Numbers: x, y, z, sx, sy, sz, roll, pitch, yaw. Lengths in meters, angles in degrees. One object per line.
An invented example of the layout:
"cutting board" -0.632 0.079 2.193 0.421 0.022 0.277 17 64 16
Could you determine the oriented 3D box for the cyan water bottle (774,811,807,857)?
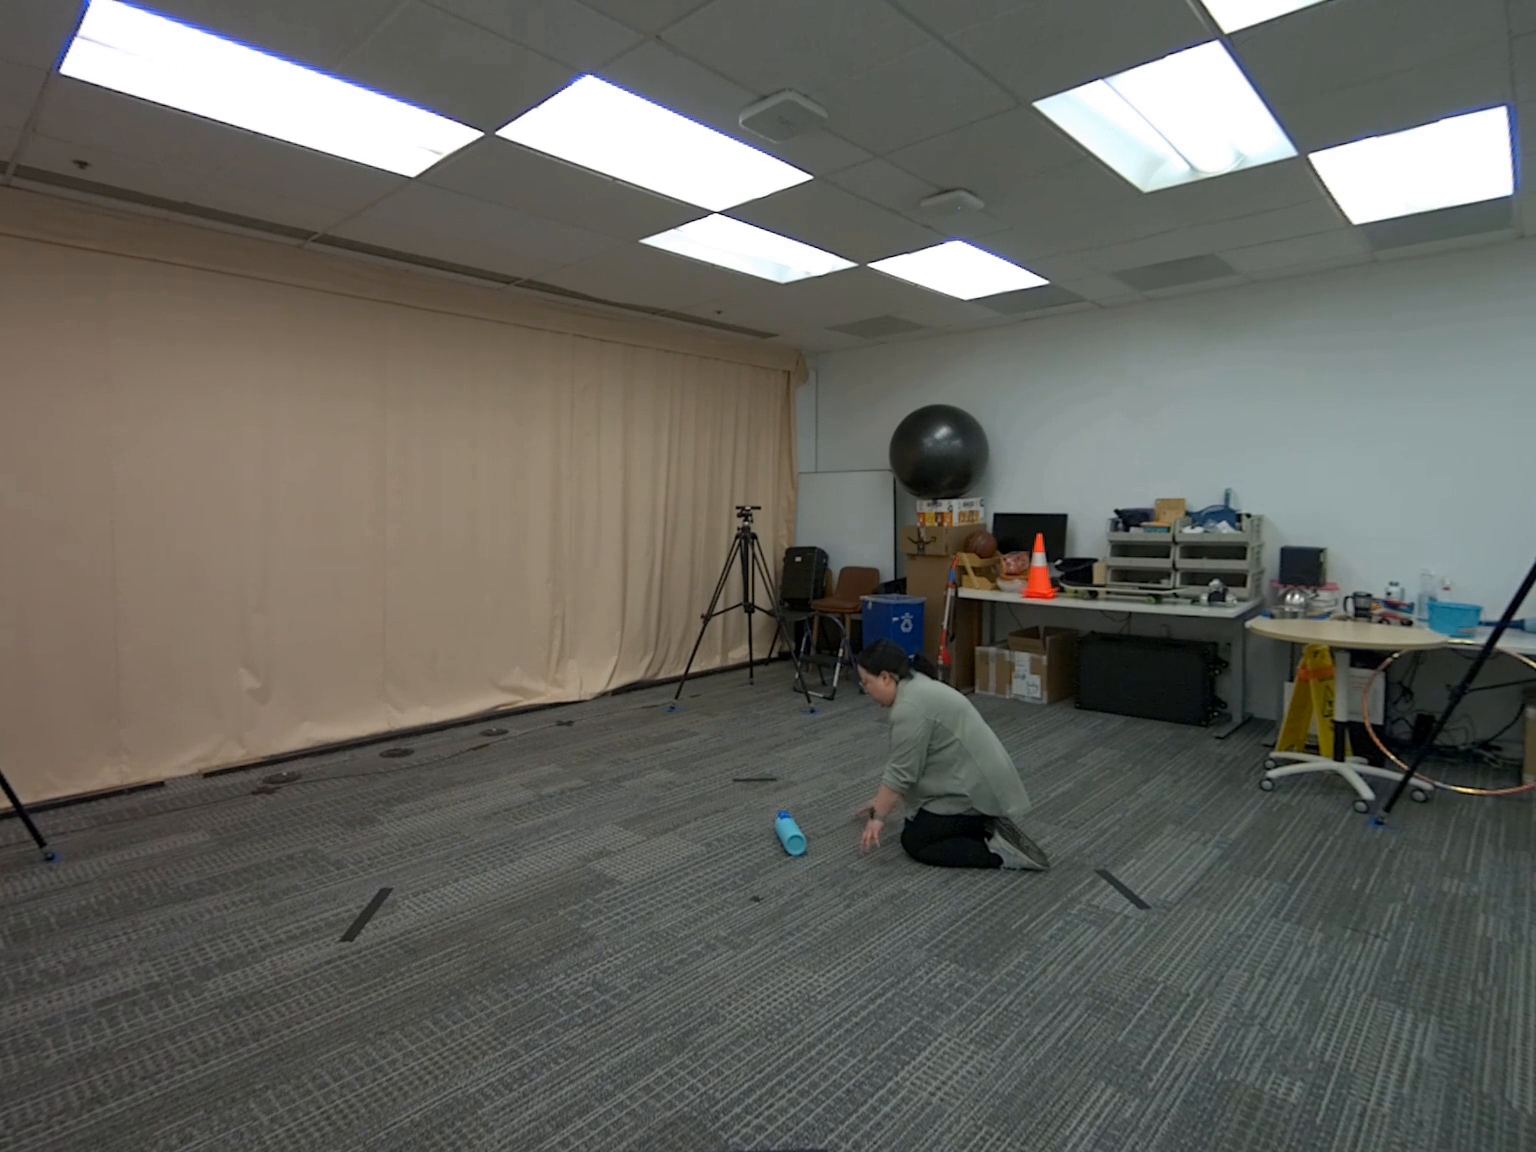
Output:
"cyan water bottle" 0.089 1.058 3.490 0.091 0.092 0.287 -1 4 -10
